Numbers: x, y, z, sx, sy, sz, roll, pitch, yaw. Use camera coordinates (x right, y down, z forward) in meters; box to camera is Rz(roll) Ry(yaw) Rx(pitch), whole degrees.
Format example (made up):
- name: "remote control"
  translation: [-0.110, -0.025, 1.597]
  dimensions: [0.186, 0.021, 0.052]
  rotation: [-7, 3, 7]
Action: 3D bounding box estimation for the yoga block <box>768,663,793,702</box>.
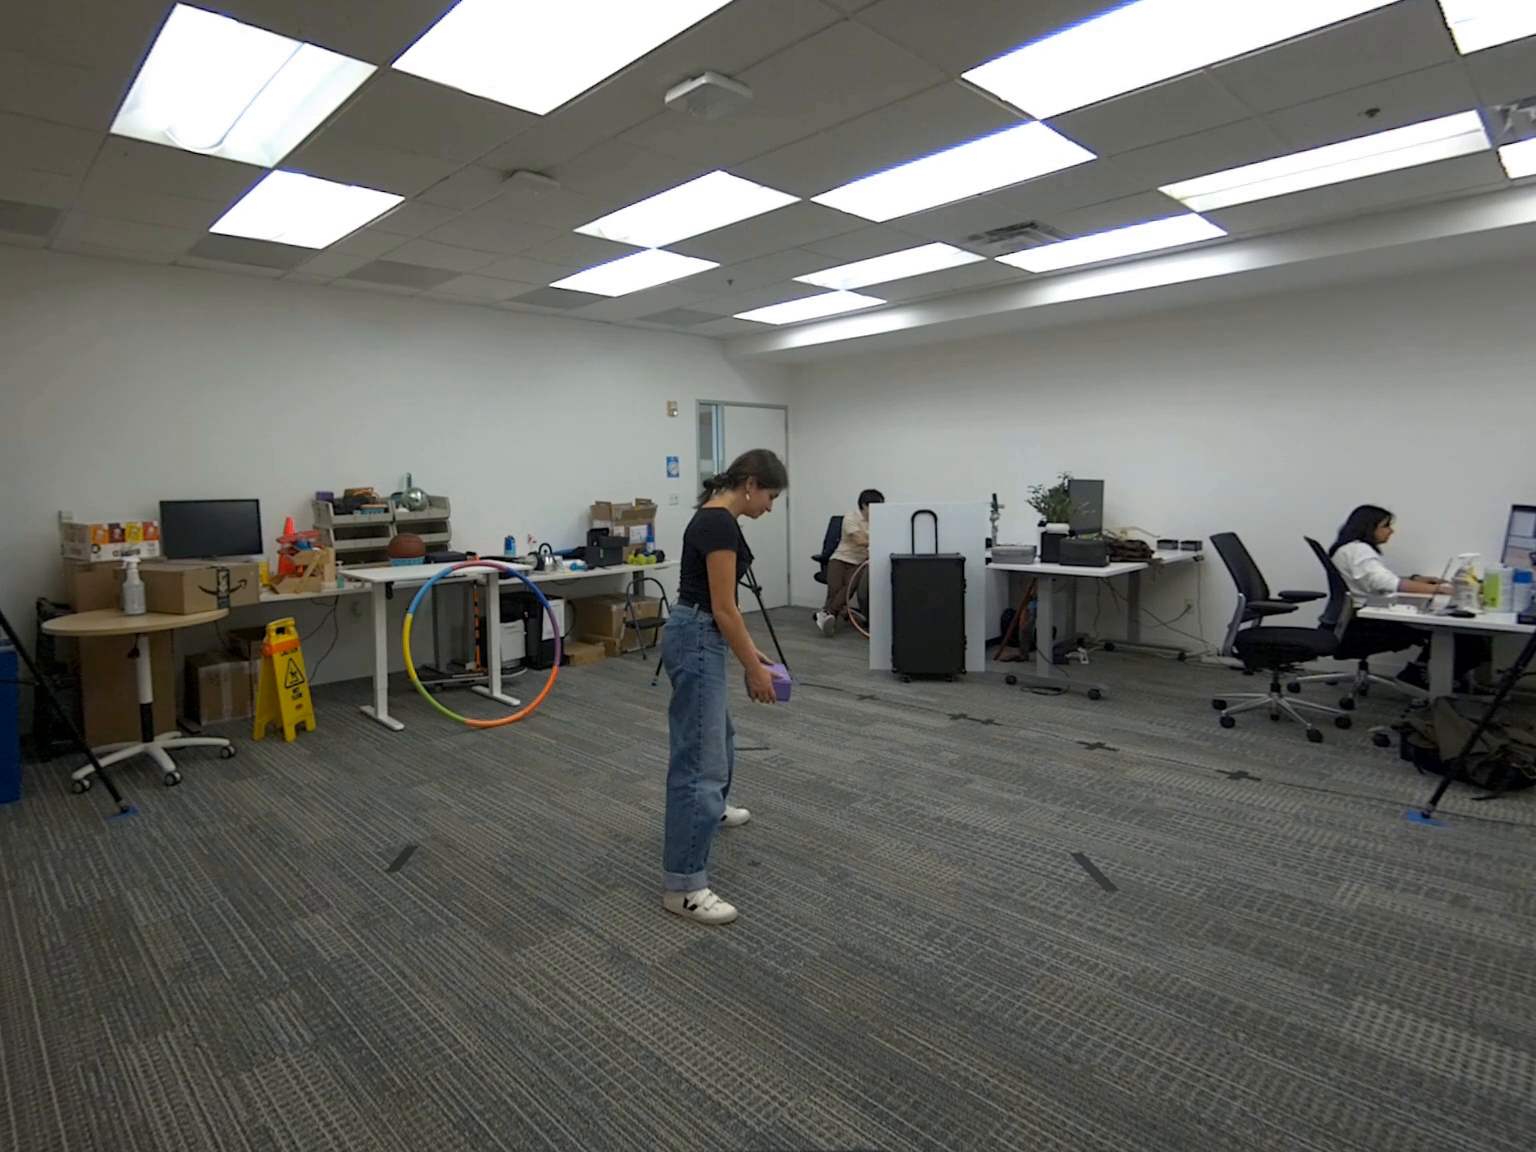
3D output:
- name: "yoga block"
  translation: [-0.006, 0.370, 3.058]
  dimensions: [0.149, 0.076, 0.231]
  rotation: [6, 8, -2]
